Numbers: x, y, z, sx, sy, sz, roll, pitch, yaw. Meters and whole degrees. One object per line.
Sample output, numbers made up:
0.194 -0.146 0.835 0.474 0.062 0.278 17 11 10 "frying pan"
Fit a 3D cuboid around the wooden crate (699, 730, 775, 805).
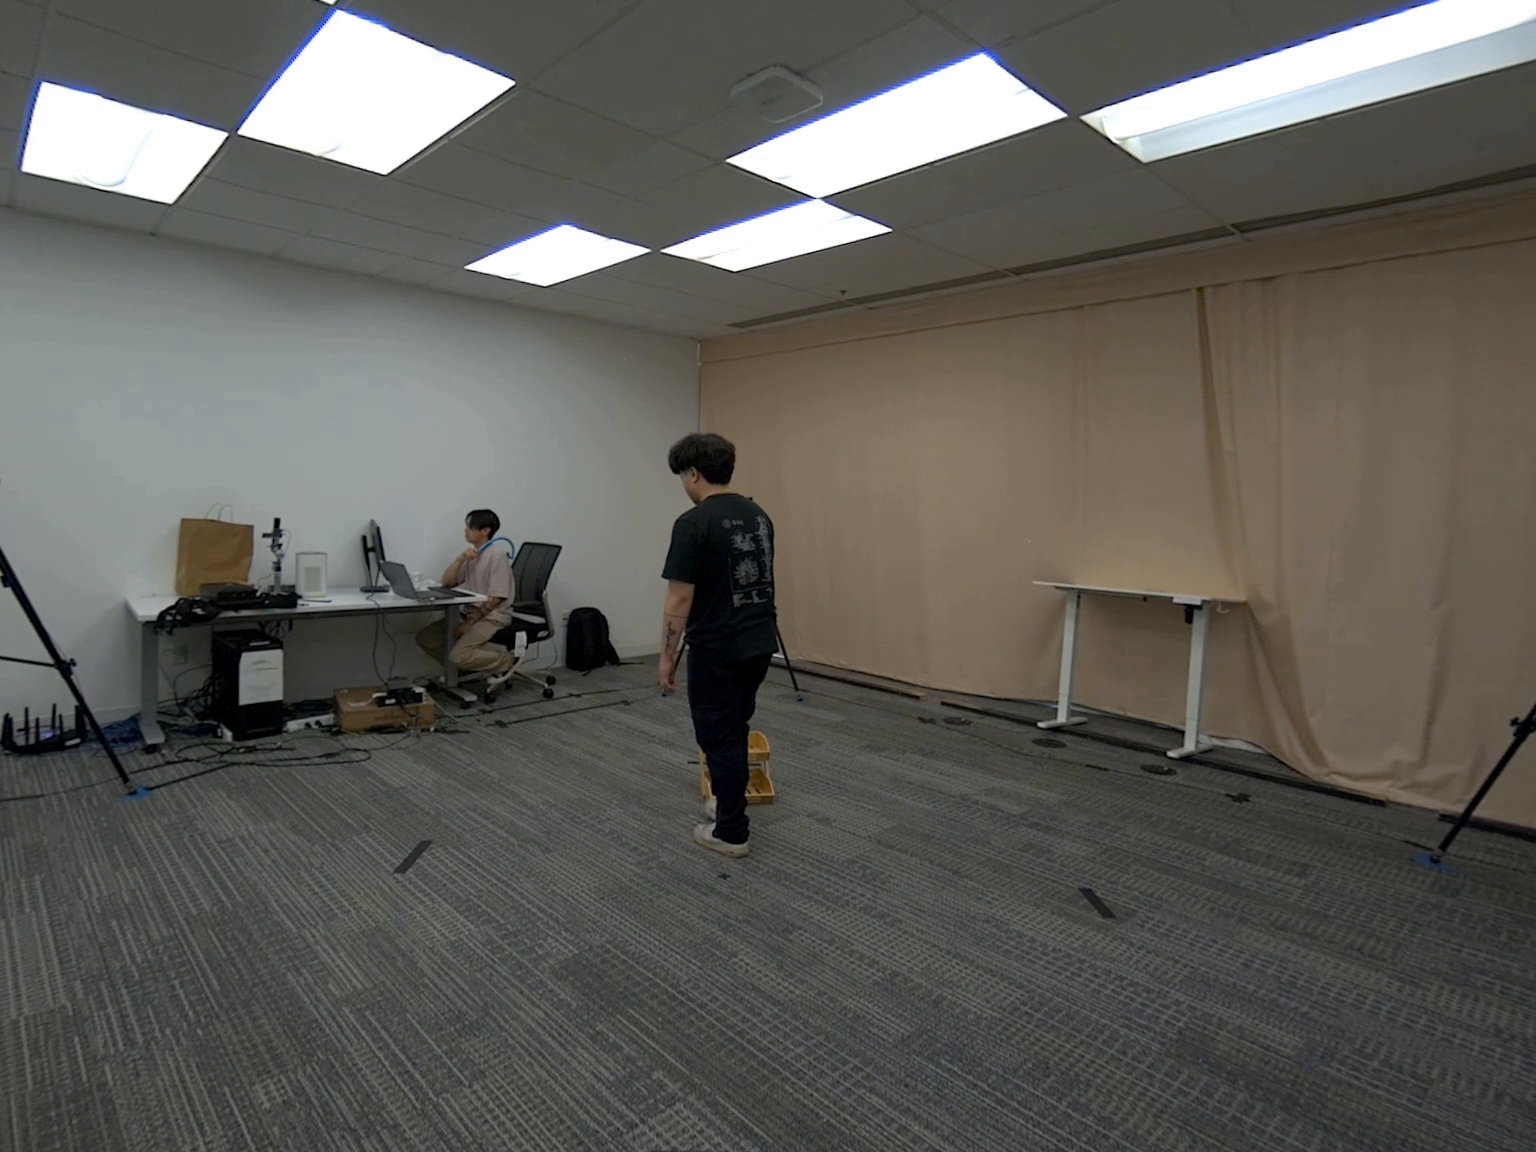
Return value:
-0.162 0.900 3.968 0.321 0.273 0.306 1 3 -14 "wooden crate"
